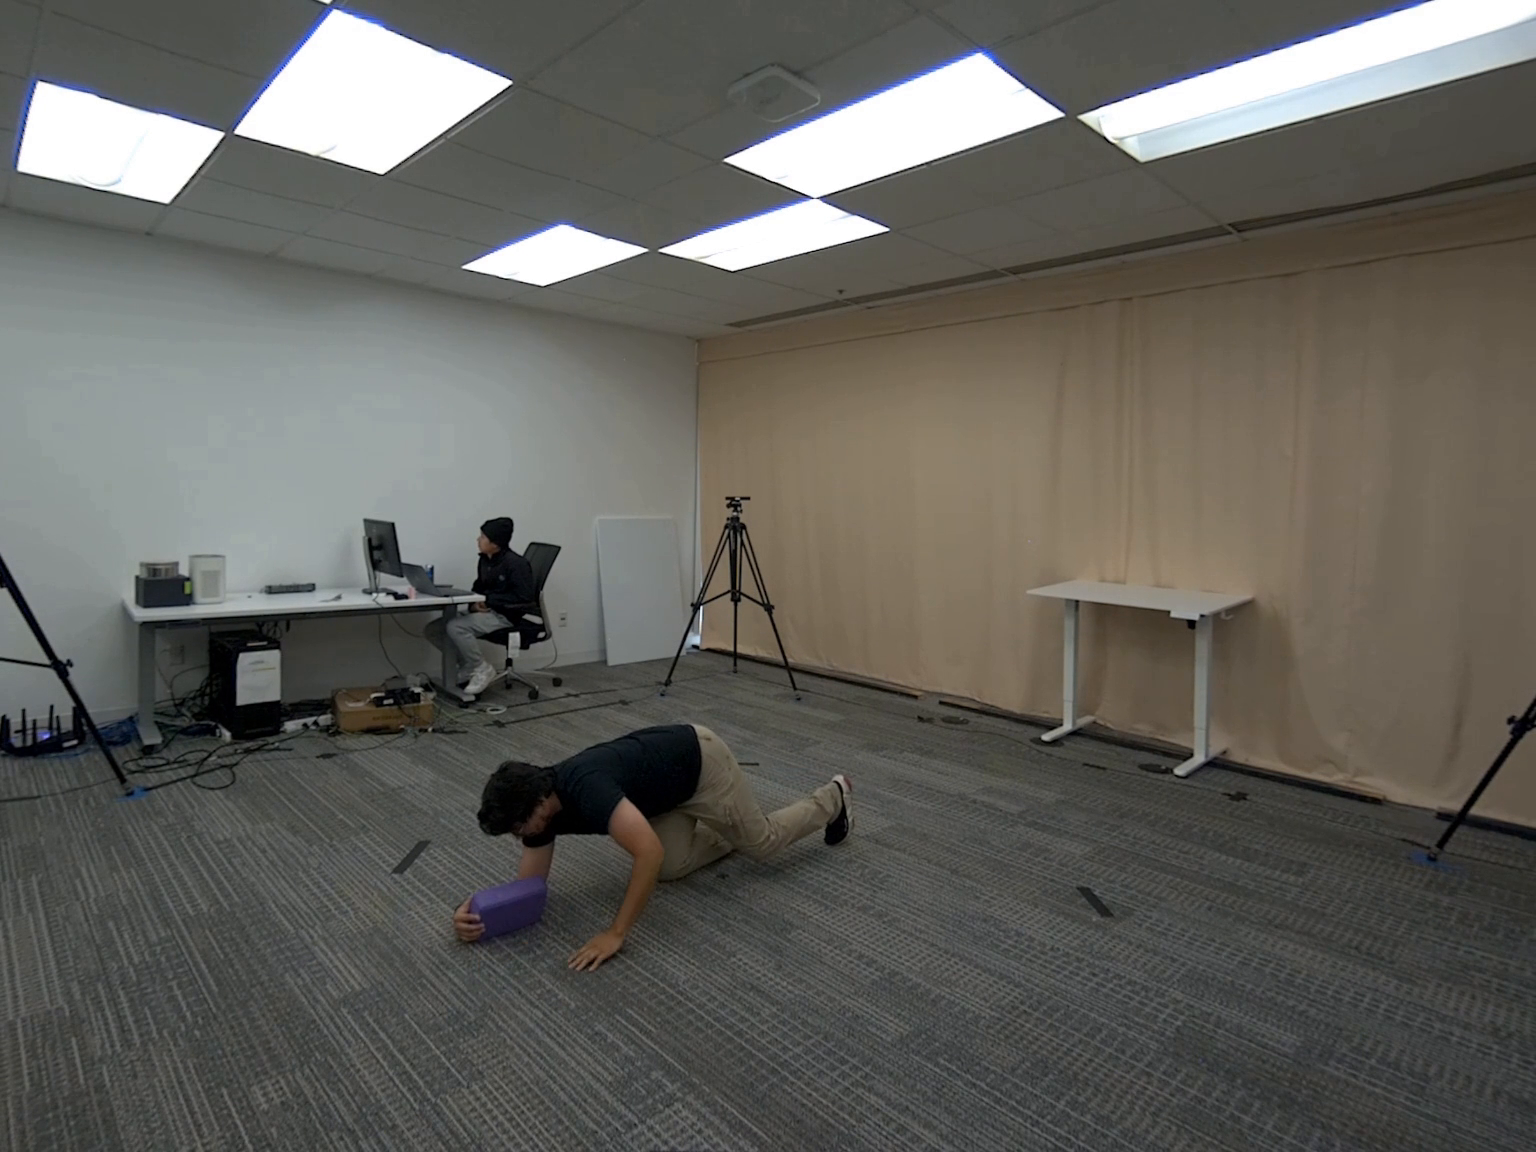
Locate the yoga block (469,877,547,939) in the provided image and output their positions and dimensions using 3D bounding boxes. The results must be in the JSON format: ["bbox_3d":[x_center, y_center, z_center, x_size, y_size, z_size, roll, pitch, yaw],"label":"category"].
[{"bbox_3d":[-0.836,1.058,2.669,0.224,0.147,0.079,-2,23,-37],"label":"yoga block"}]
